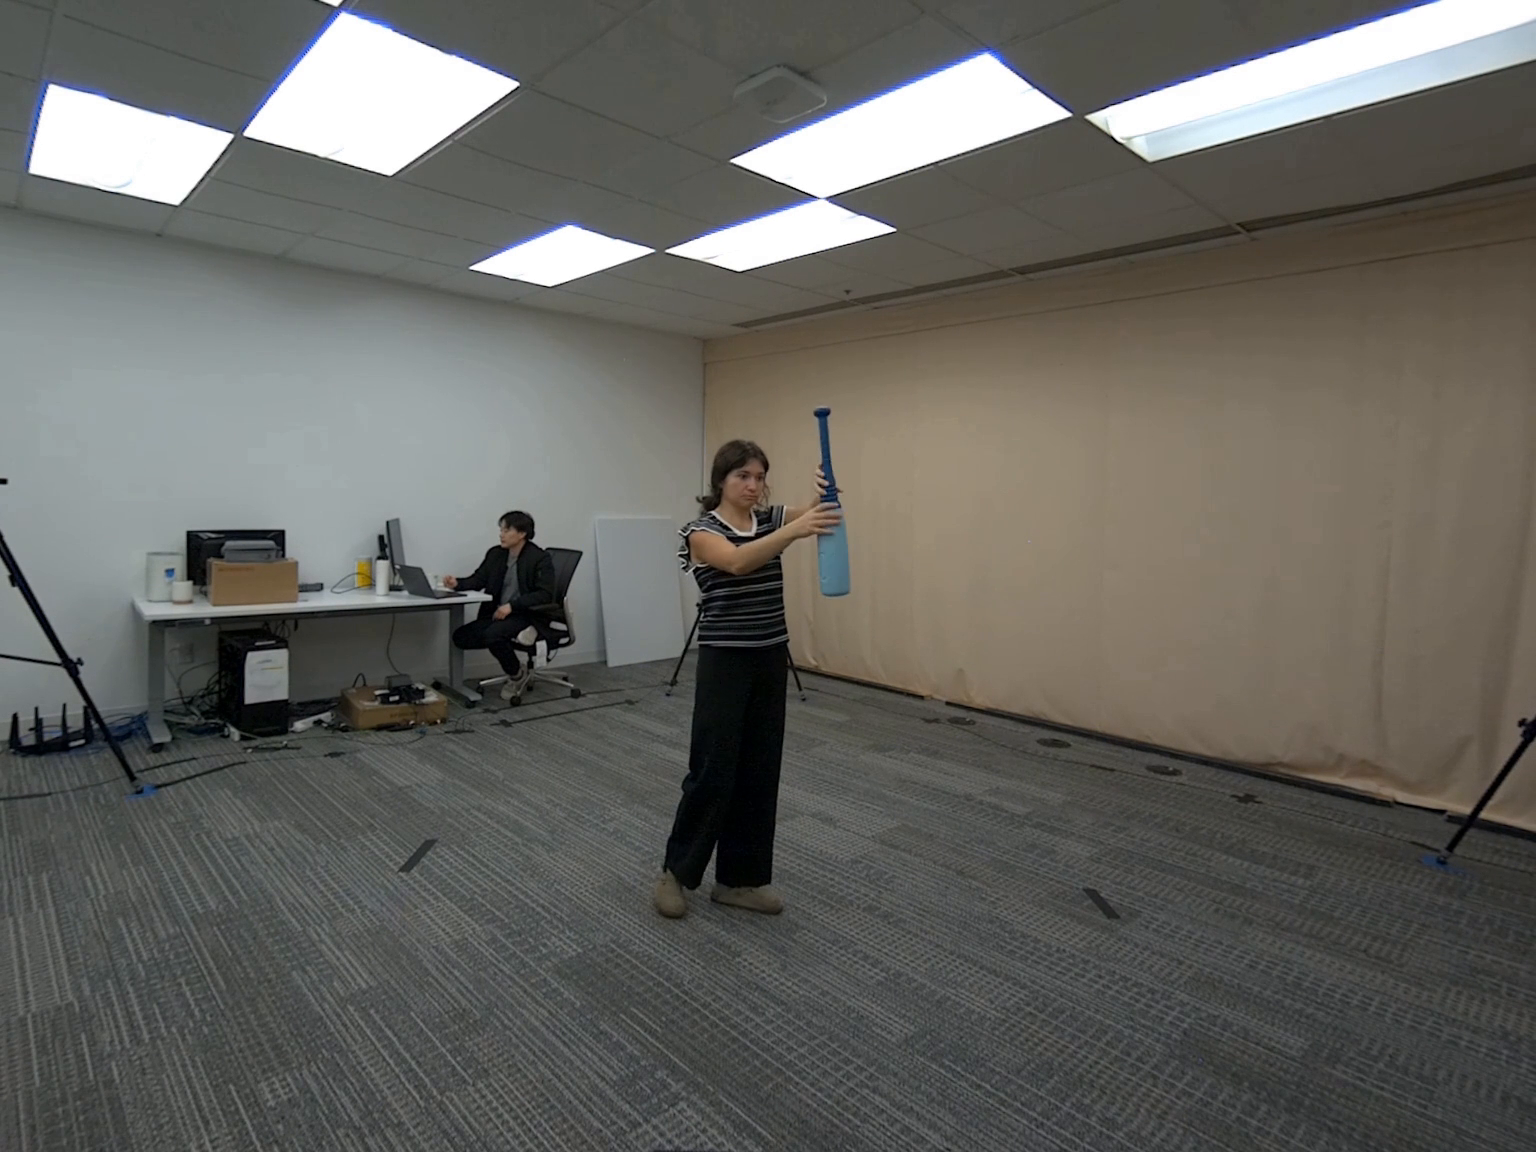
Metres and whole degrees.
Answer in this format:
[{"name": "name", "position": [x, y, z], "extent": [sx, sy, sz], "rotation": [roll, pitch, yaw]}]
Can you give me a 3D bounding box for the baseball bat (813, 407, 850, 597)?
[{"name": "baseball bat", "position": [0.173, -0.216, 2.407], "extent": [0.089, 0.544, 0.089], "rotation": [-3, -1, -1]}]
